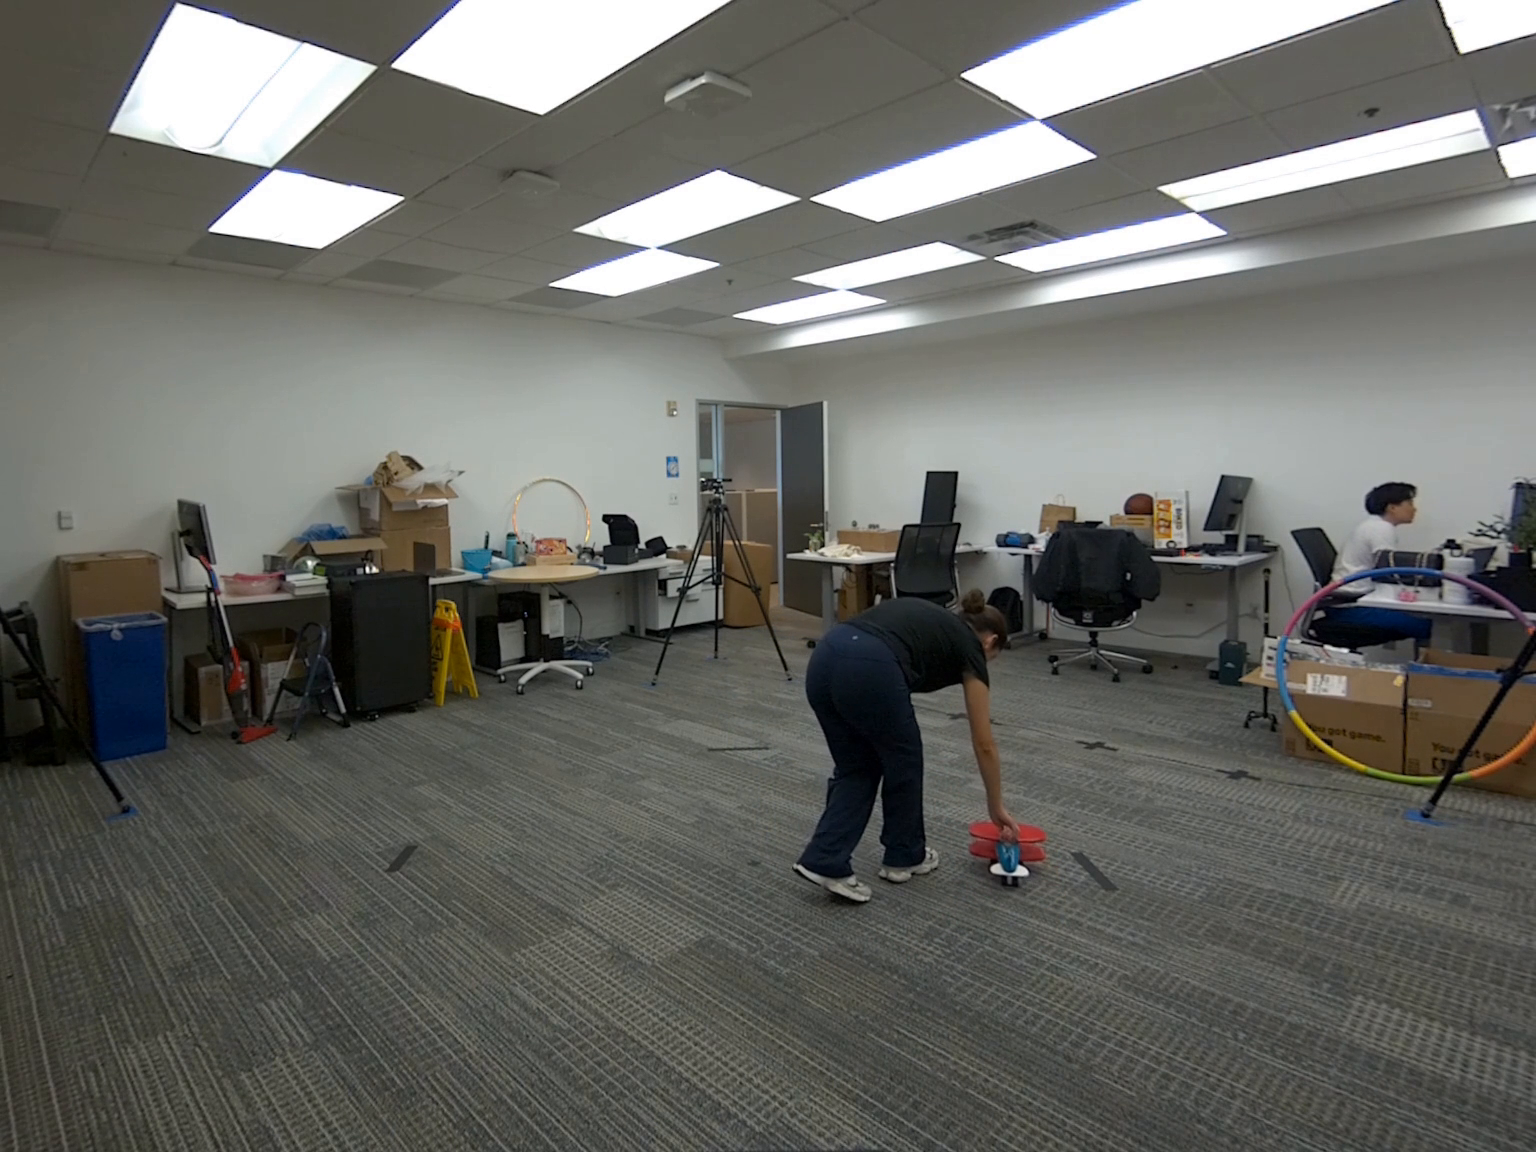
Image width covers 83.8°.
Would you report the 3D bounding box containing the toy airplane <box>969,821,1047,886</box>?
[{"bbox_3d":[0.854,0.962,2.983,0.248,0.156,0.263,-3,4,-15],"label":"toy airplane"}]
